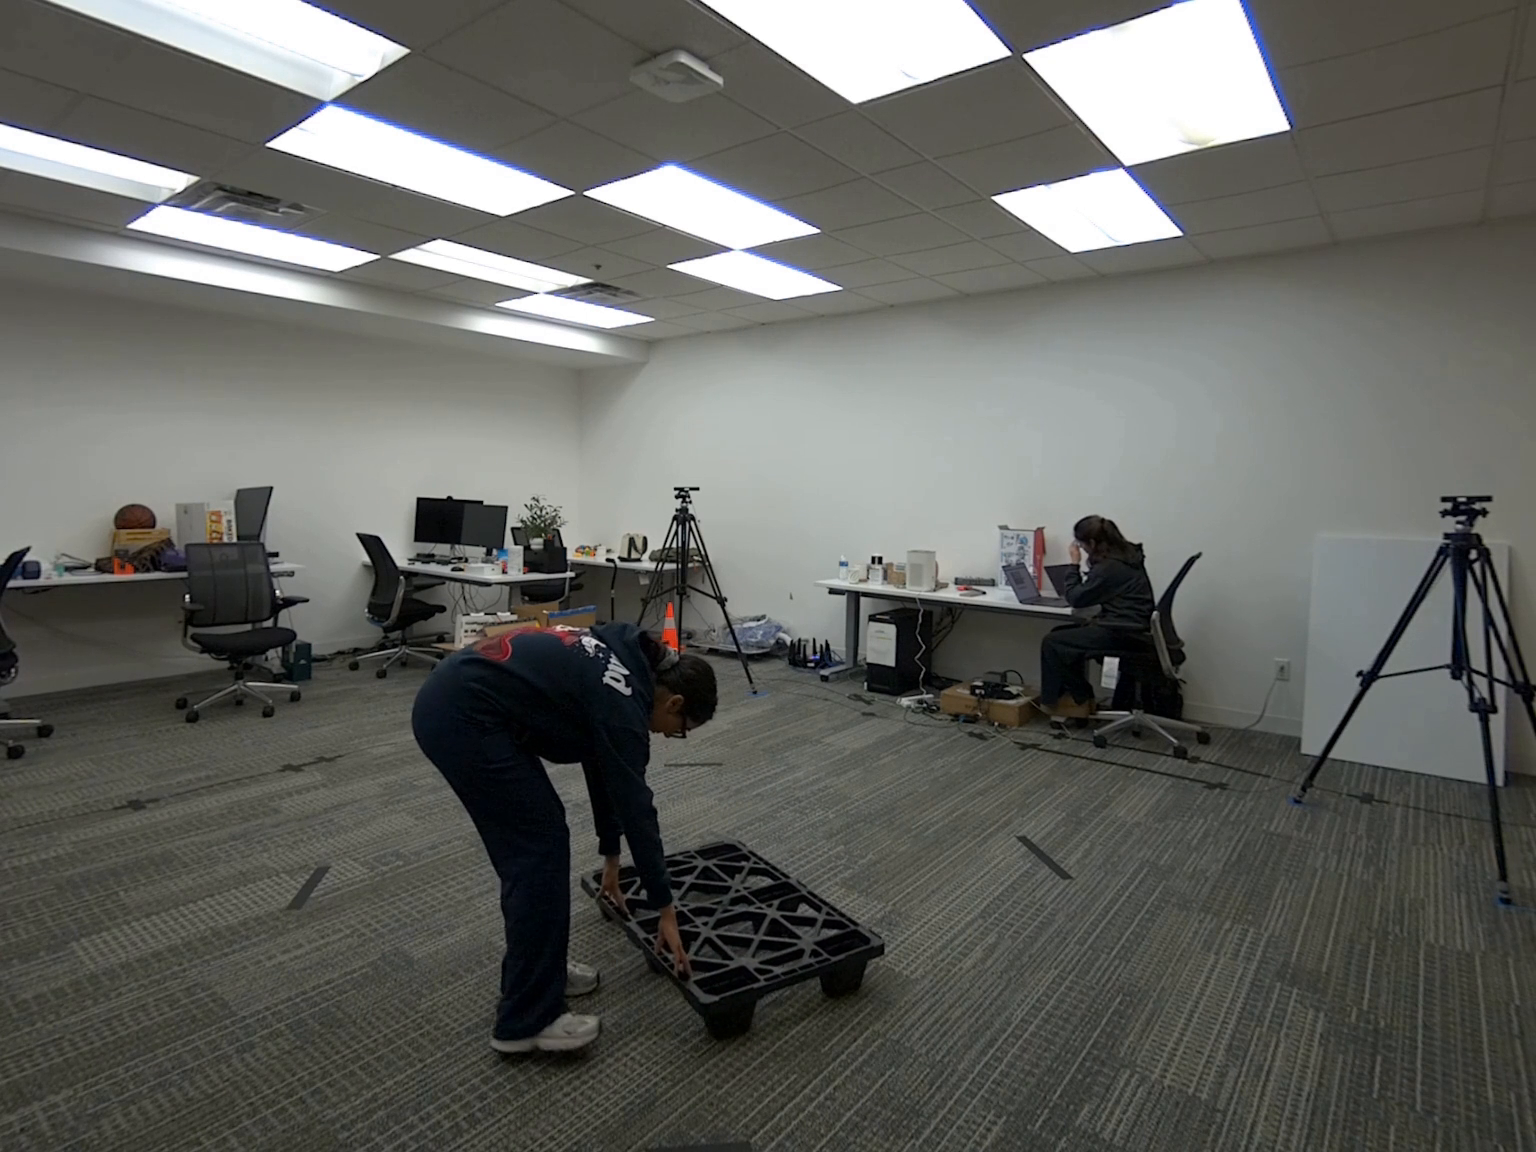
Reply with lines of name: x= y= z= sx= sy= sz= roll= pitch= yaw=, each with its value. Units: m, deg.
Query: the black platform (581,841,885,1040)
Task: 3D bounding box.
black platform: x=-0.148 y=1.053 z=2.558 sx=0.588 sy=0.143 sz=0.832 roll=-3 pitch=7 yaw=-33
